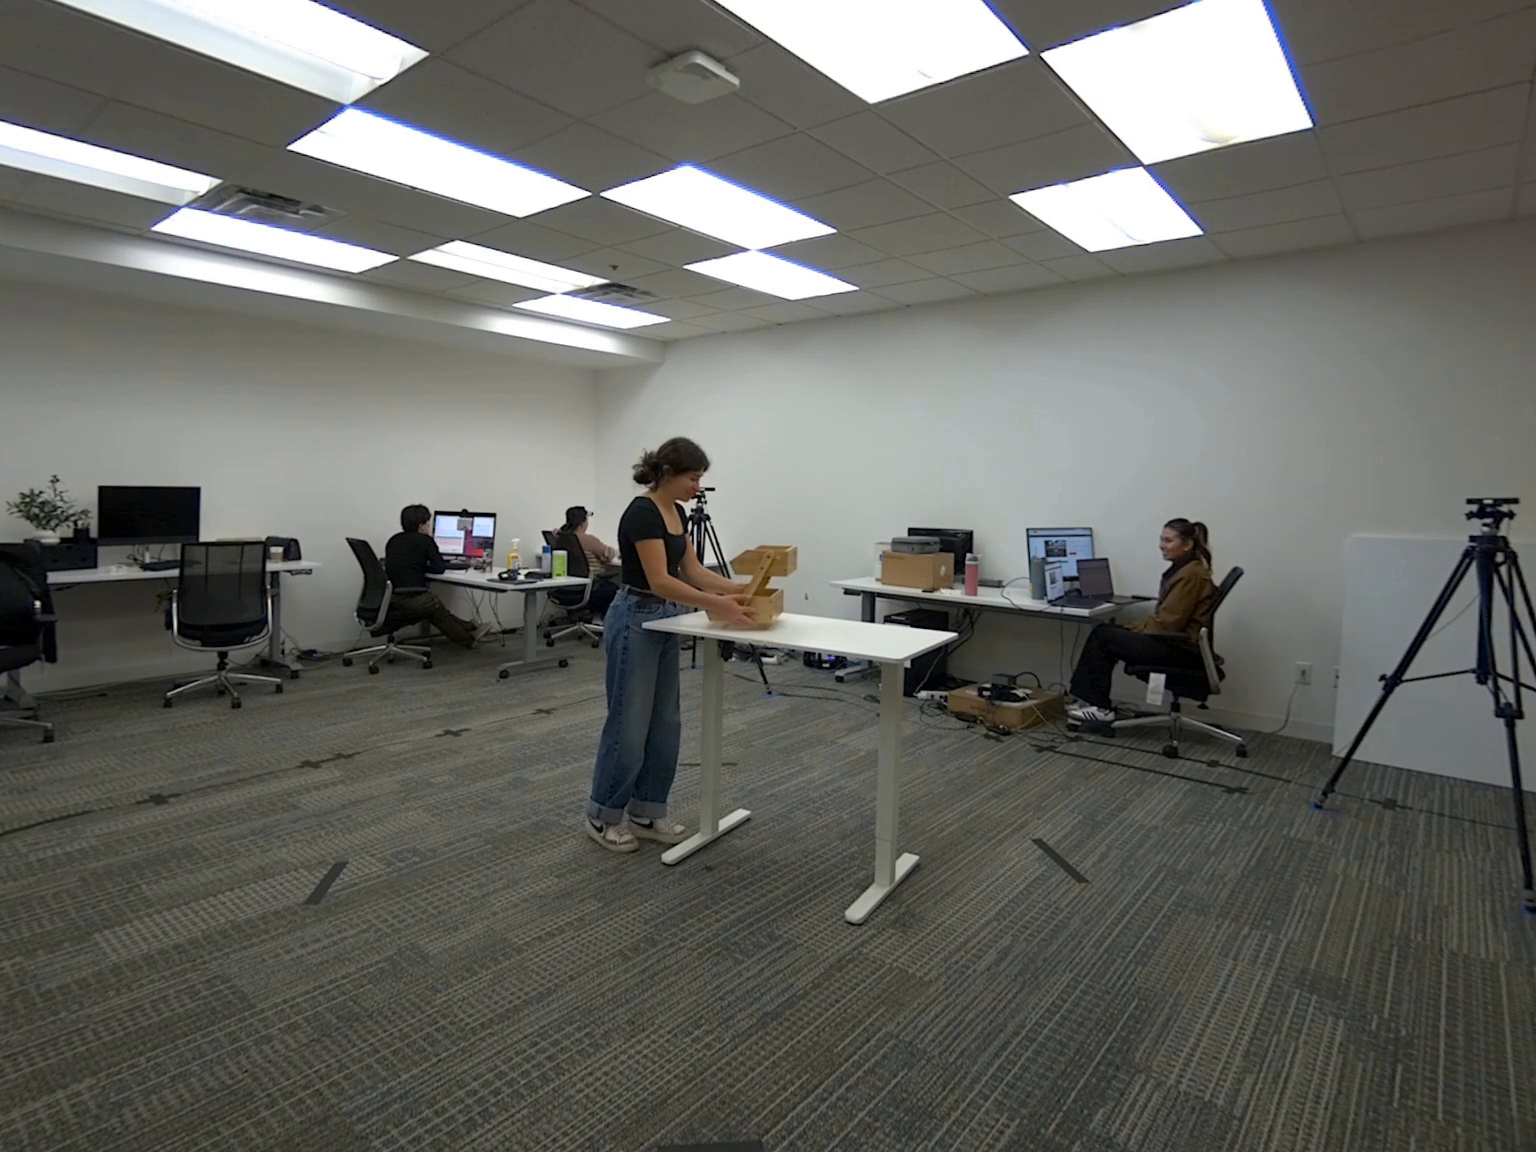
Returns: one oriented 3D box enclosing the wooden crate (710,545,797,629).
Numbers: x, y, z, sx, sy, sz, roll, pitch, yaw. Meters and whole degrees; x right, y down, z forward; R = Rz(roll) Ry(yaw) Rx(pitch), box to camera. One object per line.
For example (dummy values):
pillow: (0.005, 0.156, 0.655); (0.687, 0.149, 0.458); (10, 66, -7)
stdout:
wooden crate: (-0.082, 0.018, 3.194); (0.305, 0.272, 0.322); (1, 4, 8)
